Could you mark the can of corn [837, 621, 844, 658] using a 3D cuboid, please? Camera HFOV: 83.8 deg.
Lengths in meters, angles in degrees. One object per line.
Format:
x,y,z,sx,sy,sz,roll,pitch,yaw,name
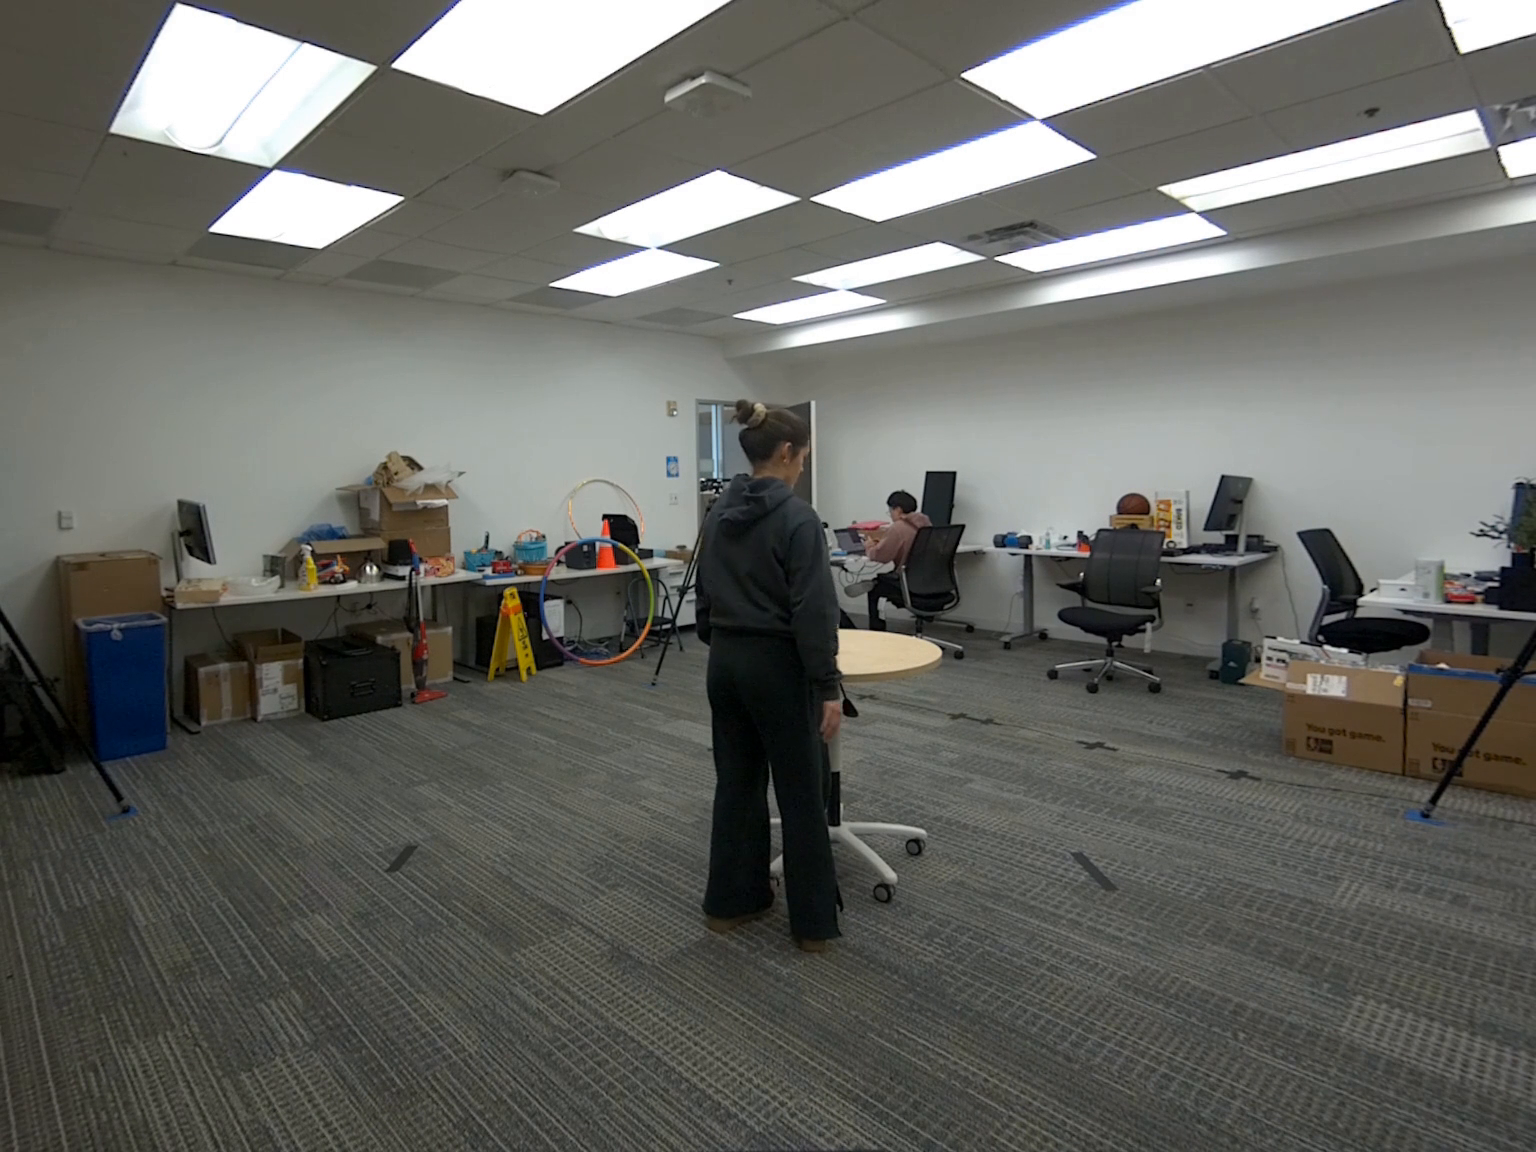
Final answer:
0.217,0.218,2.970,0.074,0.110,0.075,-2,6,-1,can of corn
